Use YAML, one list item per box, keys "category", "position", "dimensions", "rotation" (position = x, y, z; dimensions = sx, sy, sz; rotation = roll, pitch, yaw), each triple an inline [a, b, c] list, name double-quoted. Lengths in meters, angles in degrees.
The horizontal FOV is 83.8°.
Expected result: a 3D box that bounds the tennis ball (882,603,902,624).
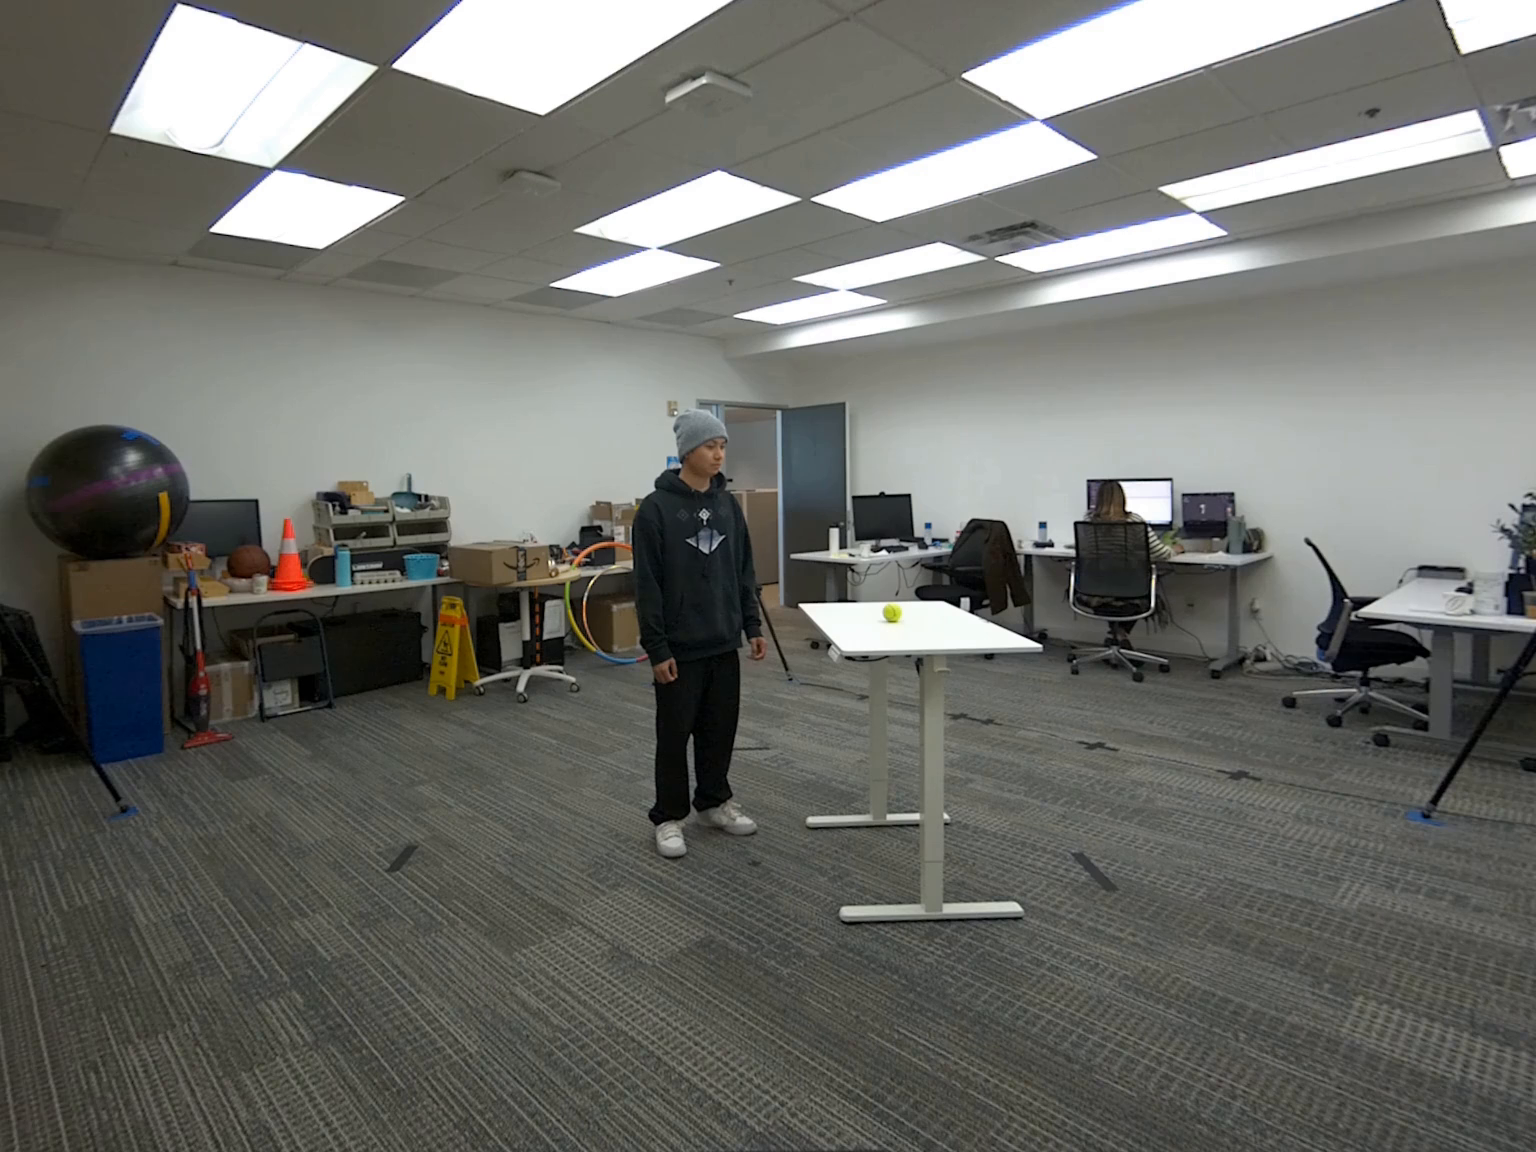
- category: "tennis ball"
  position: [0.435, 0.128, 3.036]
  dimensions: [0.066, 0.066, 0.067]
  rotation: [-1, 5, -2]
